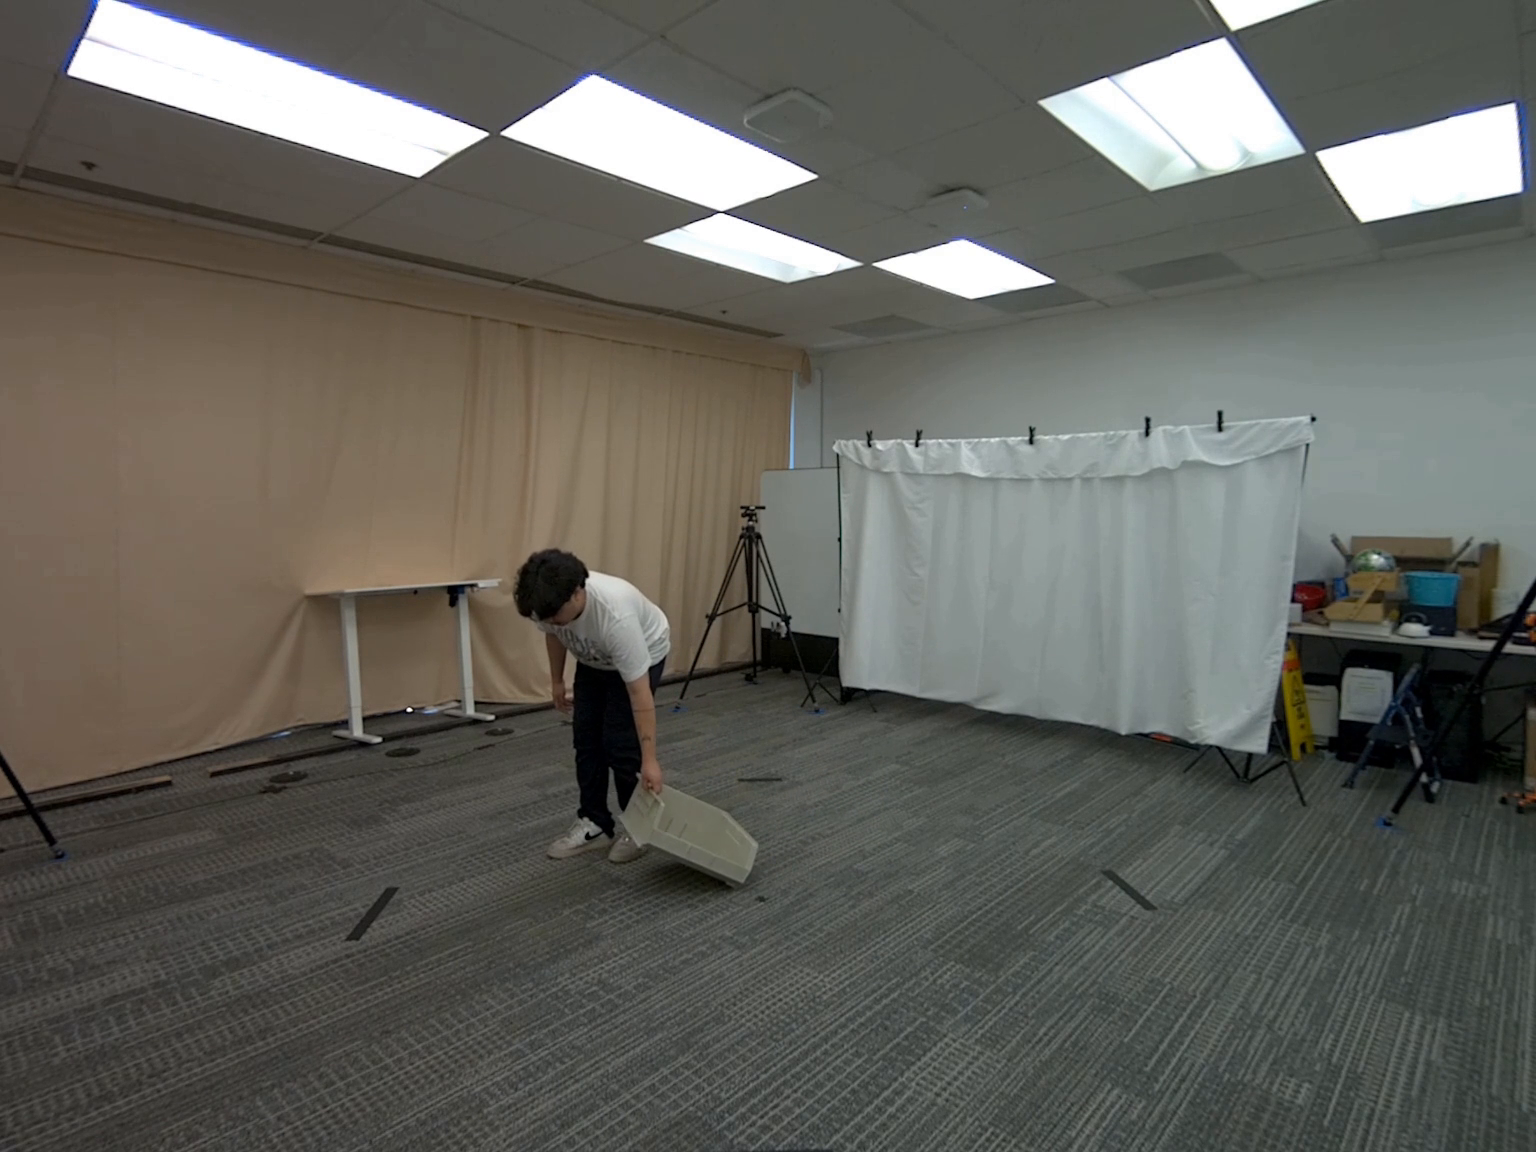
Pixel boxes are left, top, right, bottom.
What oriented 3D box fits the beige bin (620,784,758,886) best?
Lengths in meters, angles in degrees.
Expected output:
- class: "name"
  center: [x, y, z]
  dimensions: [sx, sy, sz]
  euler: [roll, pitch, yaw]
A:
- class: "beige bin"
  center: [-0.300, 0.959, 3.143]
  dimensions: [0.412, 0.189, 0.386]
  euler: [29, -8, -21]
